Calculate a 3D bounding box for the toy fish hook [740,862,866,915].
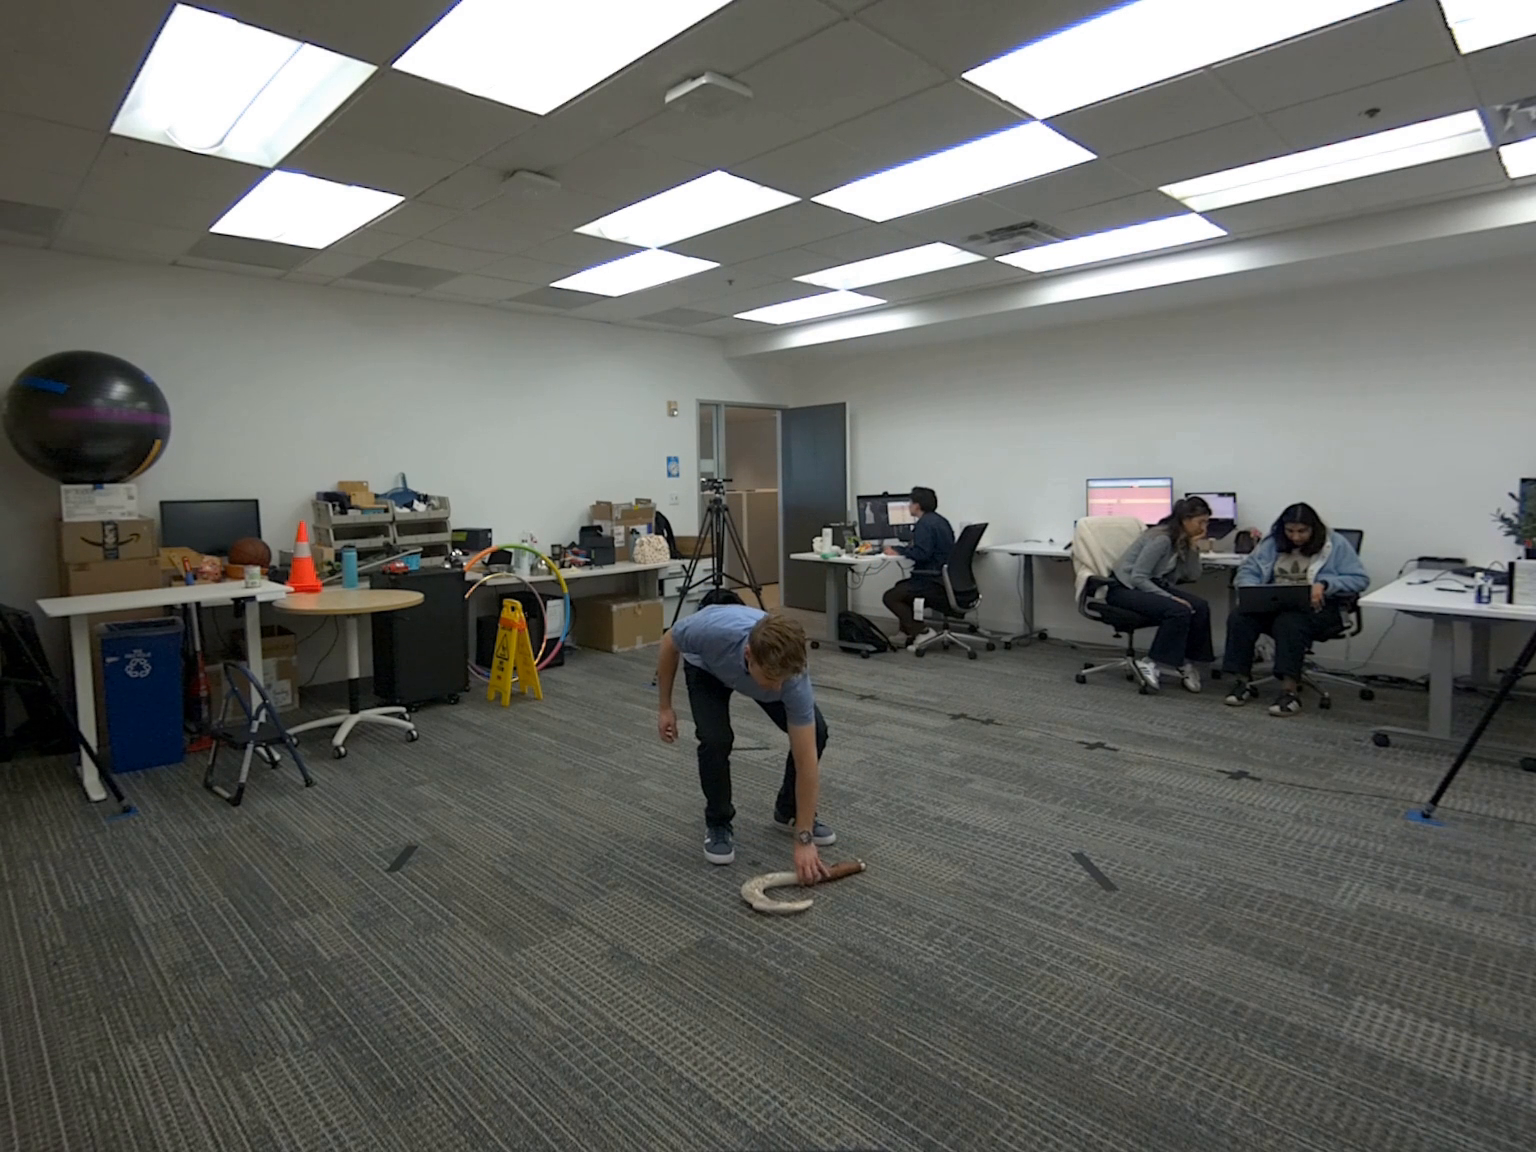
[{"bbox_3d":[0.156,1.050,2.882,0.495,0.048,0.232,-3,13,-28],"label":"toy fish hook"}]
